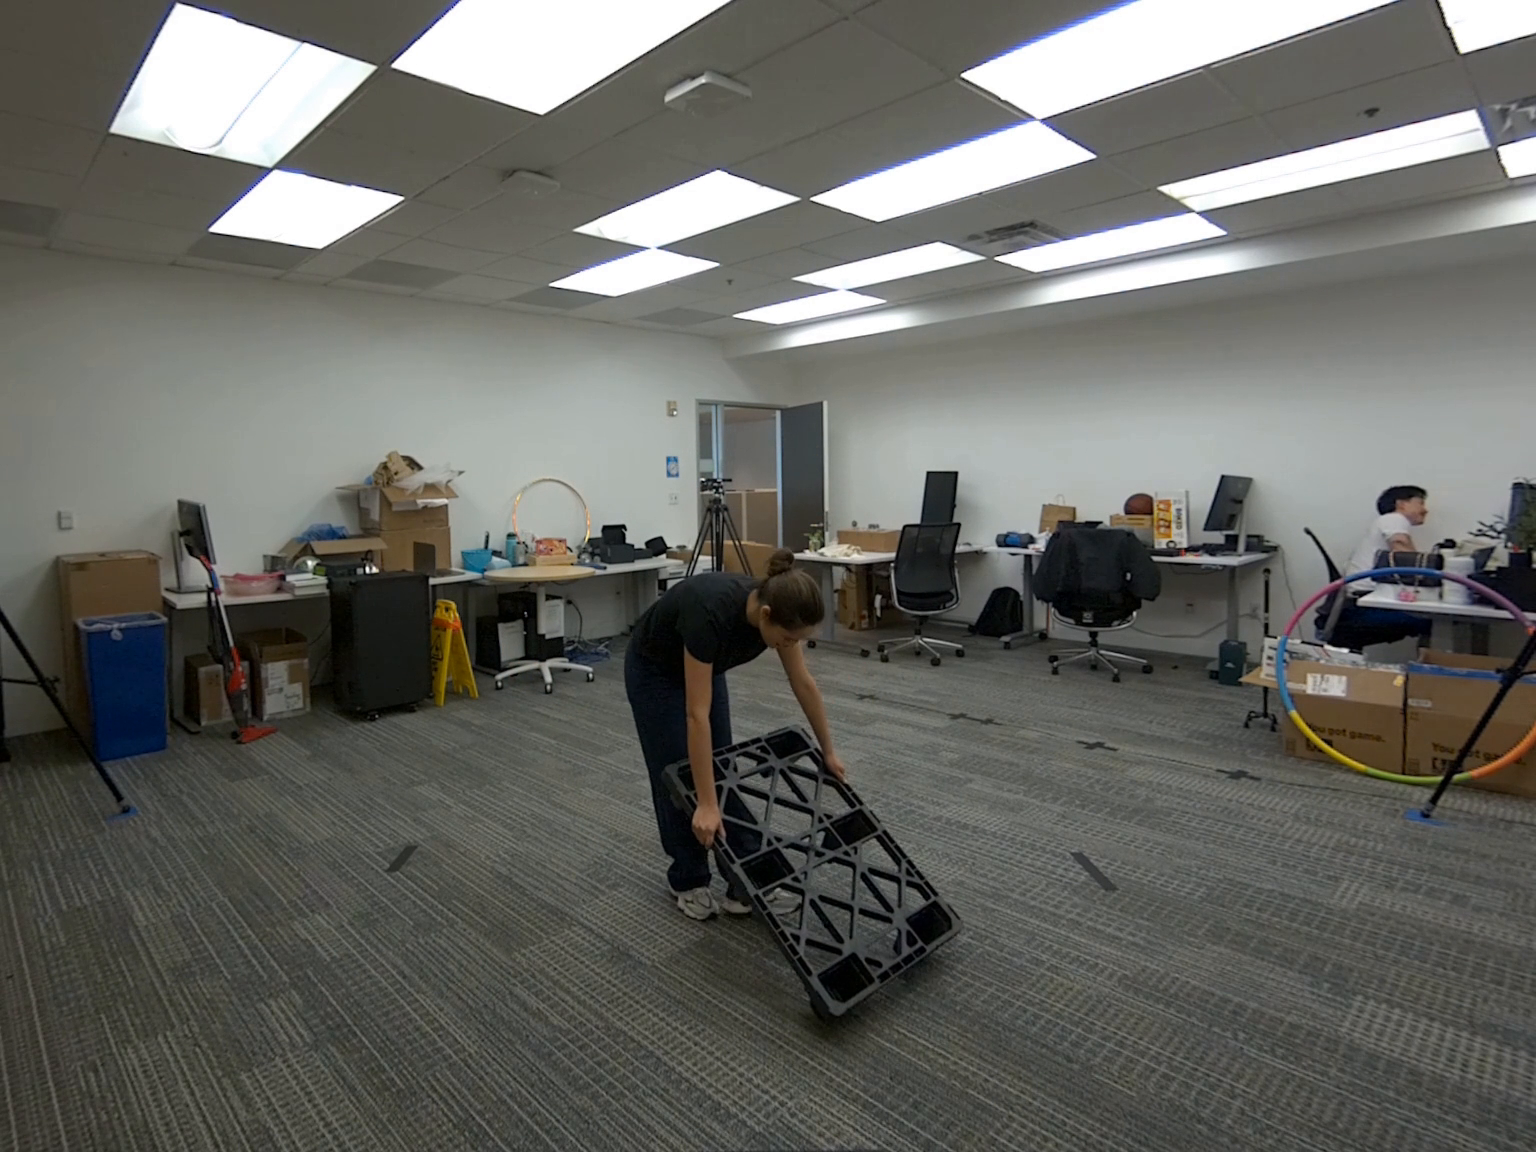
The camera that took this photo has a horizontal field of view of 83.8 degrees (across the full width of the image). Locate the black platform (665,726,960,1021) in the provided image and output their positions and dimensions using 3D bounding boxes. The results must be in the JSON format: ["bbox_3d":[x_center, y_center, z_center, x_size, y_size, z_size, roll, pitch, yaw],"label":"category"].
[{"bbox_3d":[0.113,0.835,2.546,0.589,0.142,0.835,-6,43,-44],"label":"black platform"}]
